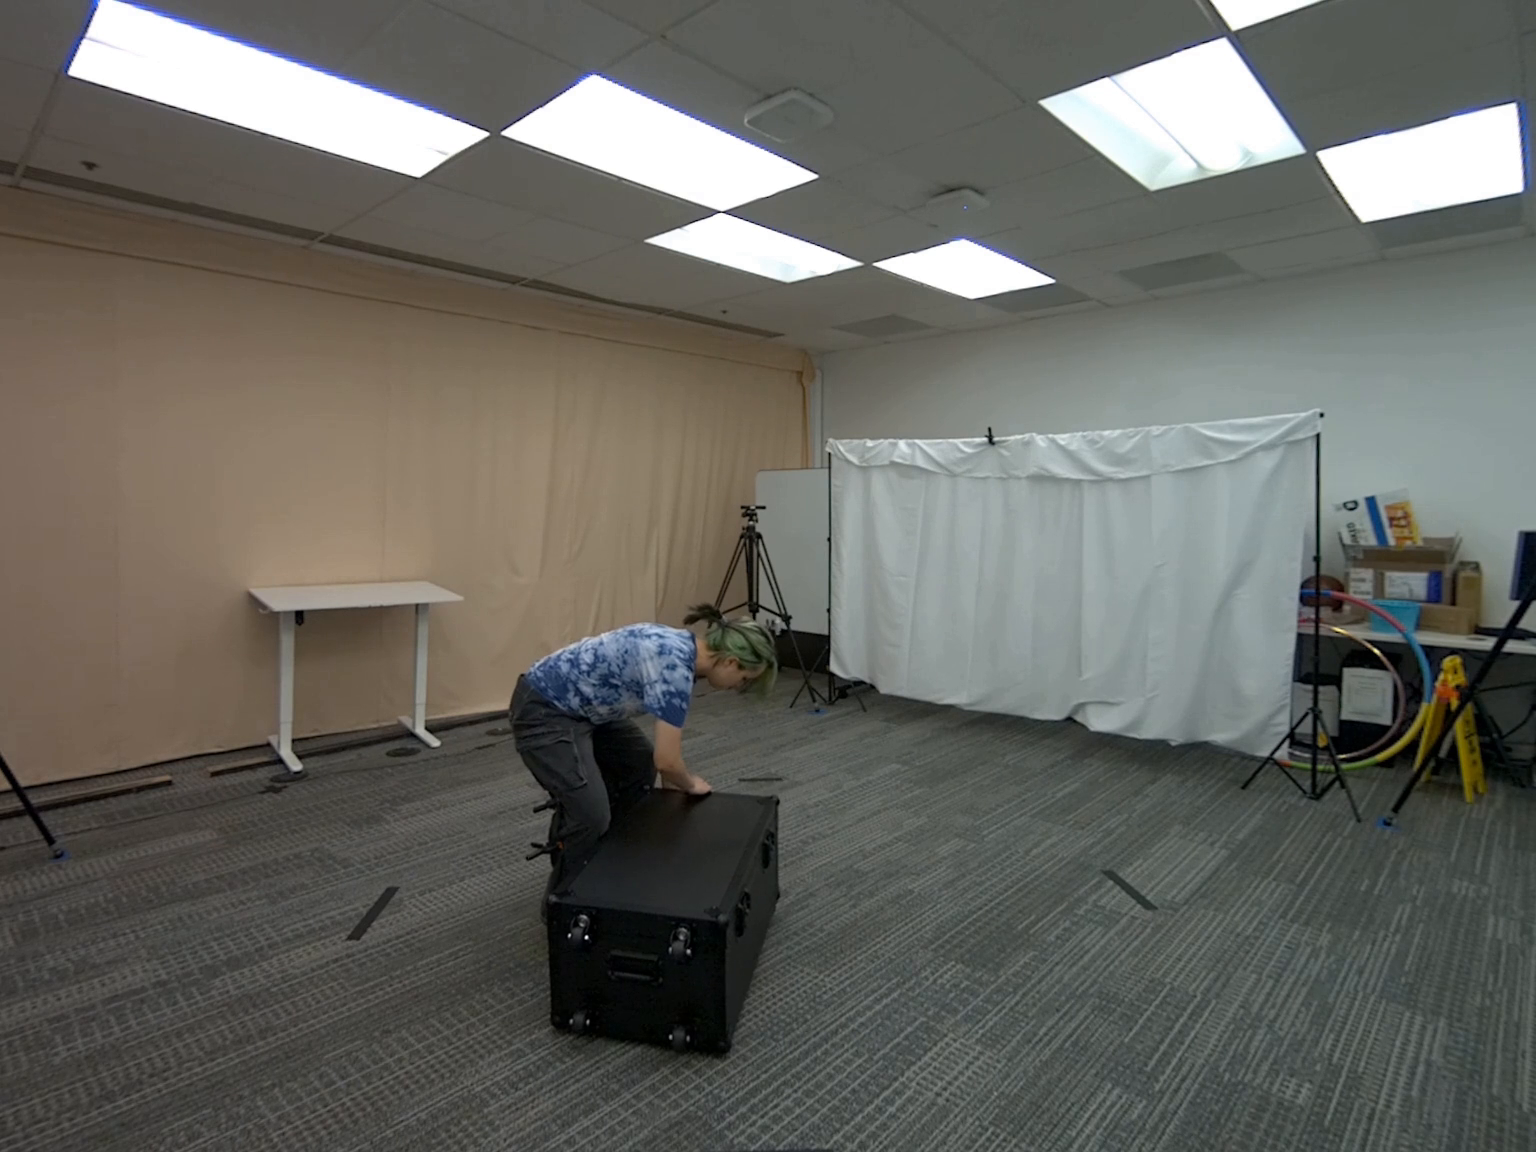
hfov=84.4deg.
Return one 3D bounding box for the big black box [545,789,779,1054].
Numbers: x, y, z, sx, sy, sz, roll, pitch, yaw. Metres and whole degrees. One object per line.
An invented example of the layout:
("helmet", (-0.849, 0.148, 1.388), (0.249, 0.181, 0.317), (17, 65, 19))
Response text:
("big black box", (-0.270, 0.979, 2.486), (0.528, 0.395, 0.853), (1, 6, 11))
